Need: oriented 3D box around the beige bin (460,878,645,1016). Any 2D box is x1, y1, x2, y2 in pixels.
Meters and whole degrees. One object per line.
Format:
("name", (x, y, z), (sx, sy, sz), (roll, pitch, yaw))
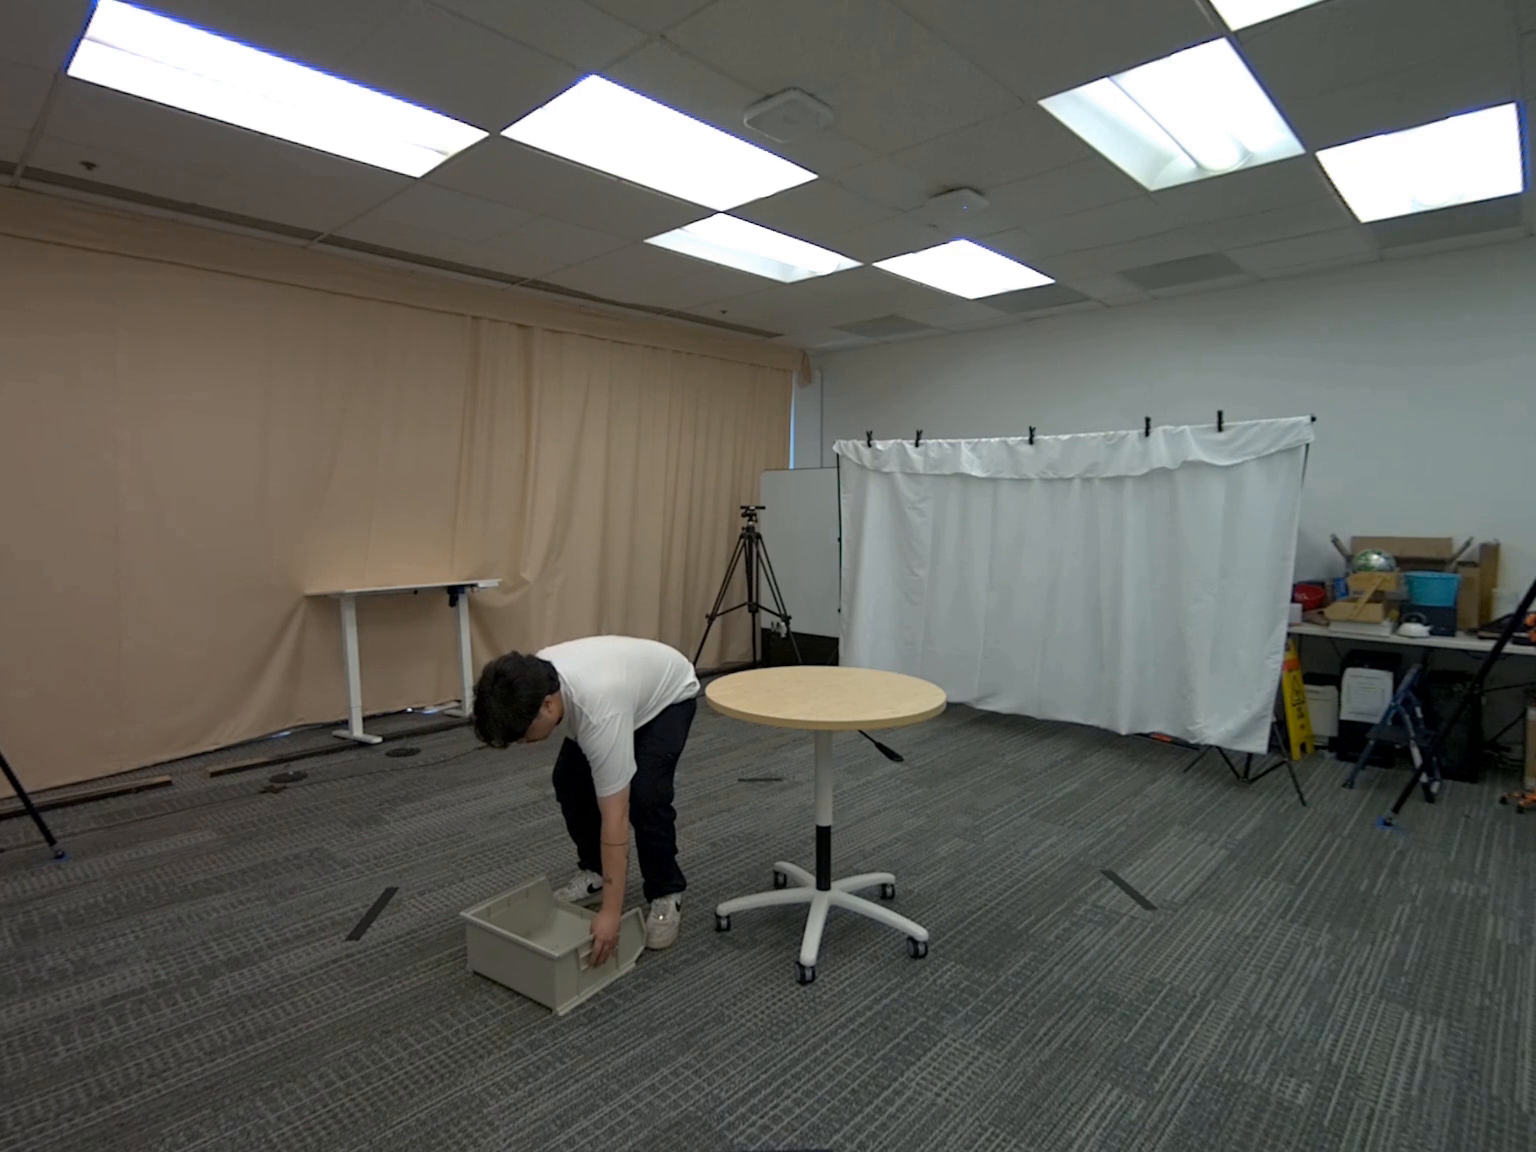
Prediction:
("beige bin", (-0.648, 1.096, 2.556), (0.436, 0.188, 0.367), (4, 6, 35))
